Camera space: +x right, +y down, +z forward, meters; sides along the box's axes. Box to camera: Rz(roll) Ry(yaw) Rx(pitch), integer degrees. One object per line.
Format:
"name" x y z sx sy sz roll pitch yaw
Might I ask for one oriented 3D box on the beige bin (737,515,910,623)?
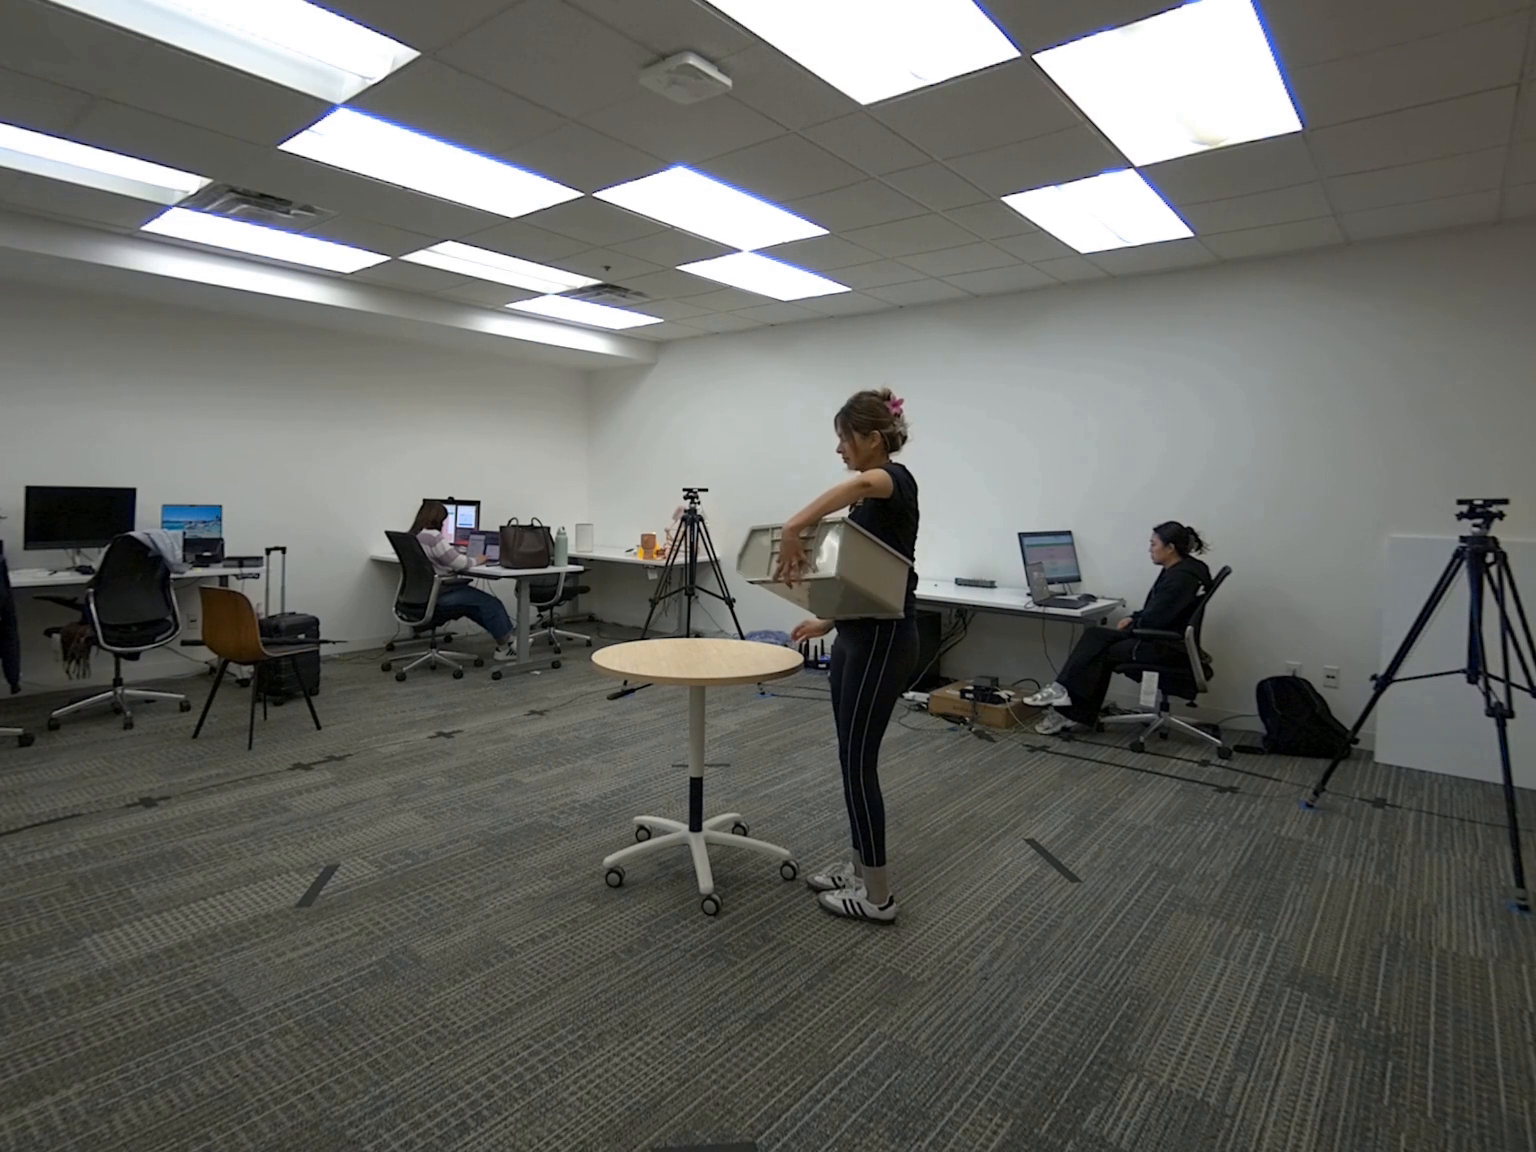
"beige bin" 0.167 -0.008 2.631 0.388 0.191 0.405 -3 -21 39
